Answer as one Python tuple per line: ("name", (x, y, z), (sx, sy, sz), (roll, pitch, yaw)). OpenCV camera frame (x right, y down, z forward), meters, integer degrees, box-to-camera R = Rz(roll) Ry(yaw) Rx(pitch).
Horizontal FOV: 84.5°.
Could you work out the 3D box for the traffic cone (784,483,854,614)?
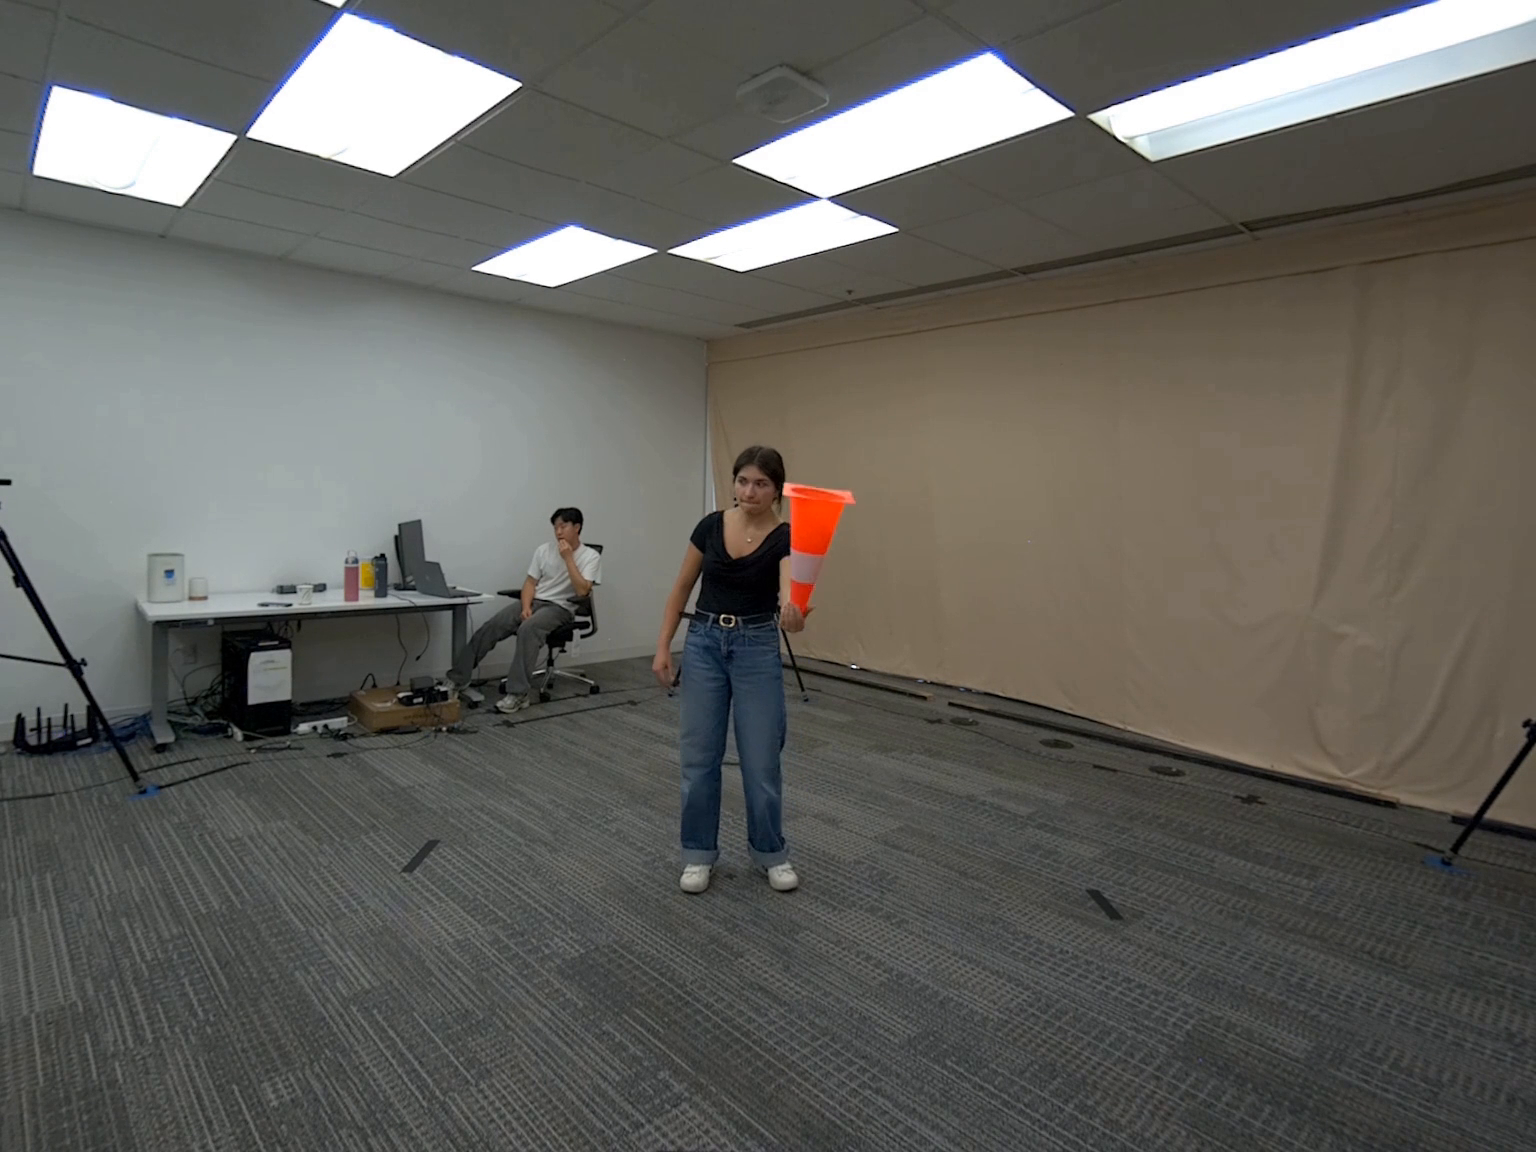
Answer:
("traffic cone", (0.098, -0.041, 2.392), (0.205, 0.380, 0.205), (7, 14, 11))
